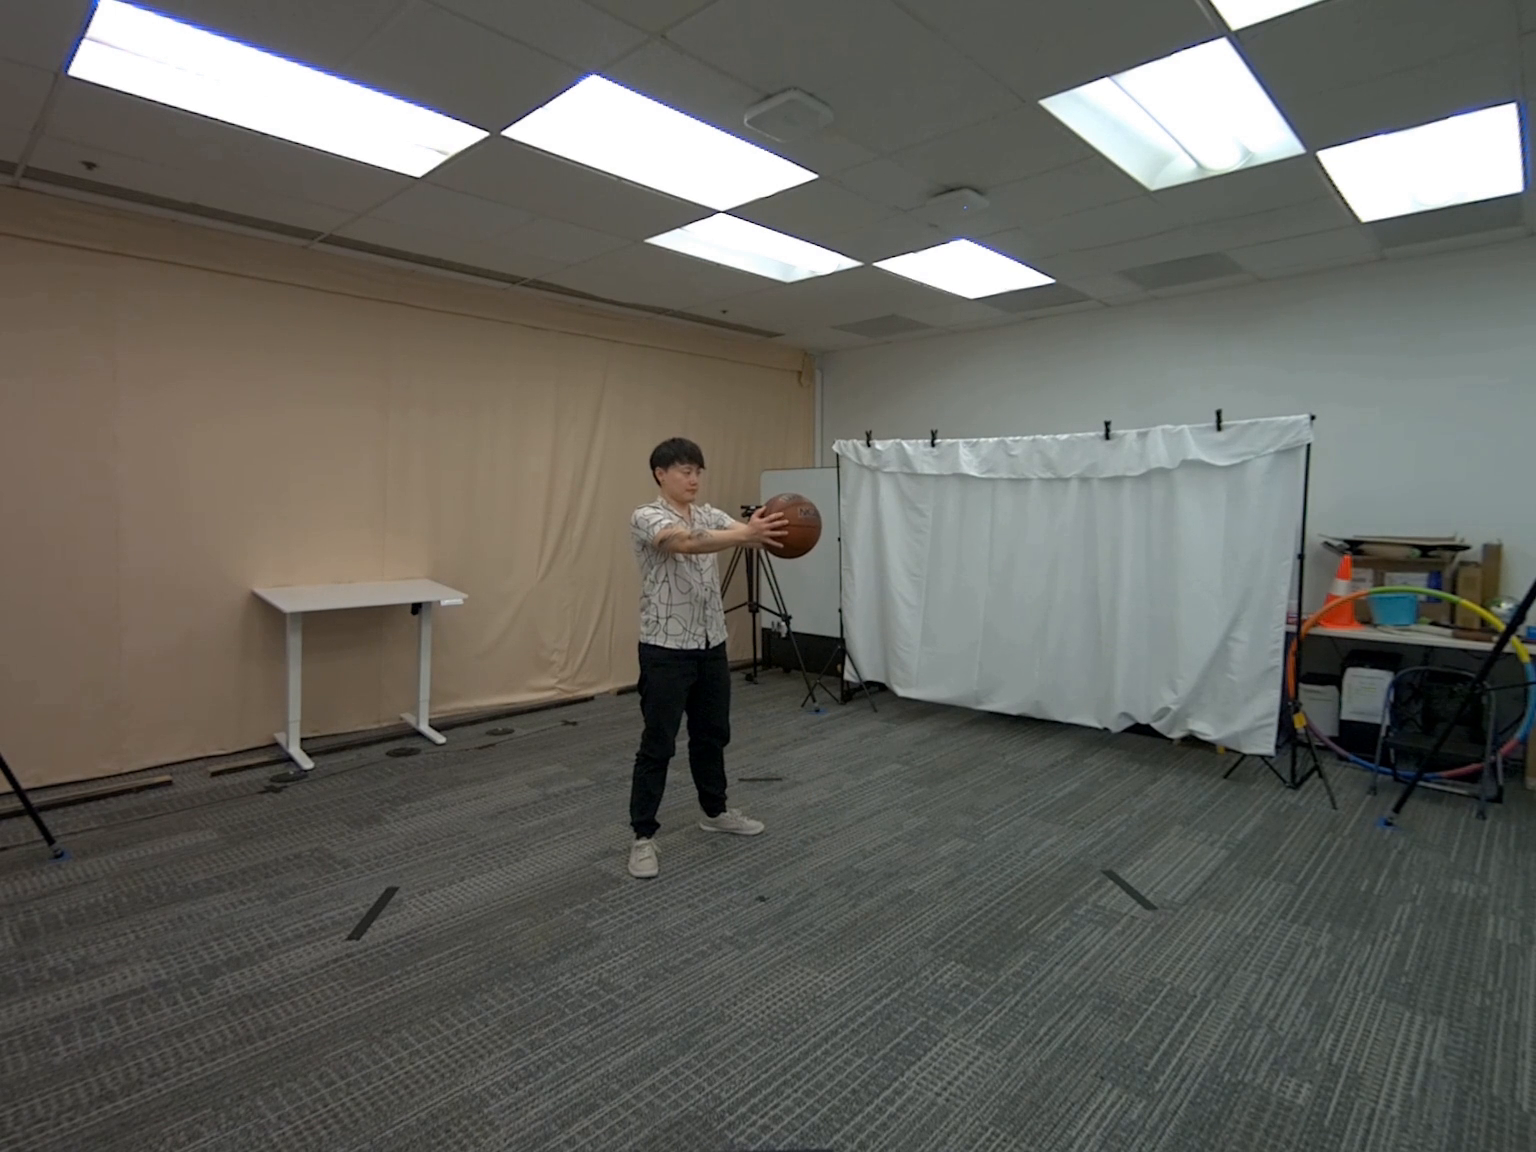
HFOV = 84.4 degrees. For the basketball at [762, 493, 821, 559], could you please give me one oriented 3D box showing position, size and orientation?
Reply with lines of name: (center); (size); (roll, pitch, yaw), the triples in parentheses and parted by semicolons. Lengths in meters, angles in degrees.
basketball: (0.077, -0.187, 3.050); (0.236, 0.235, 0.237); (0, 4, -2)
